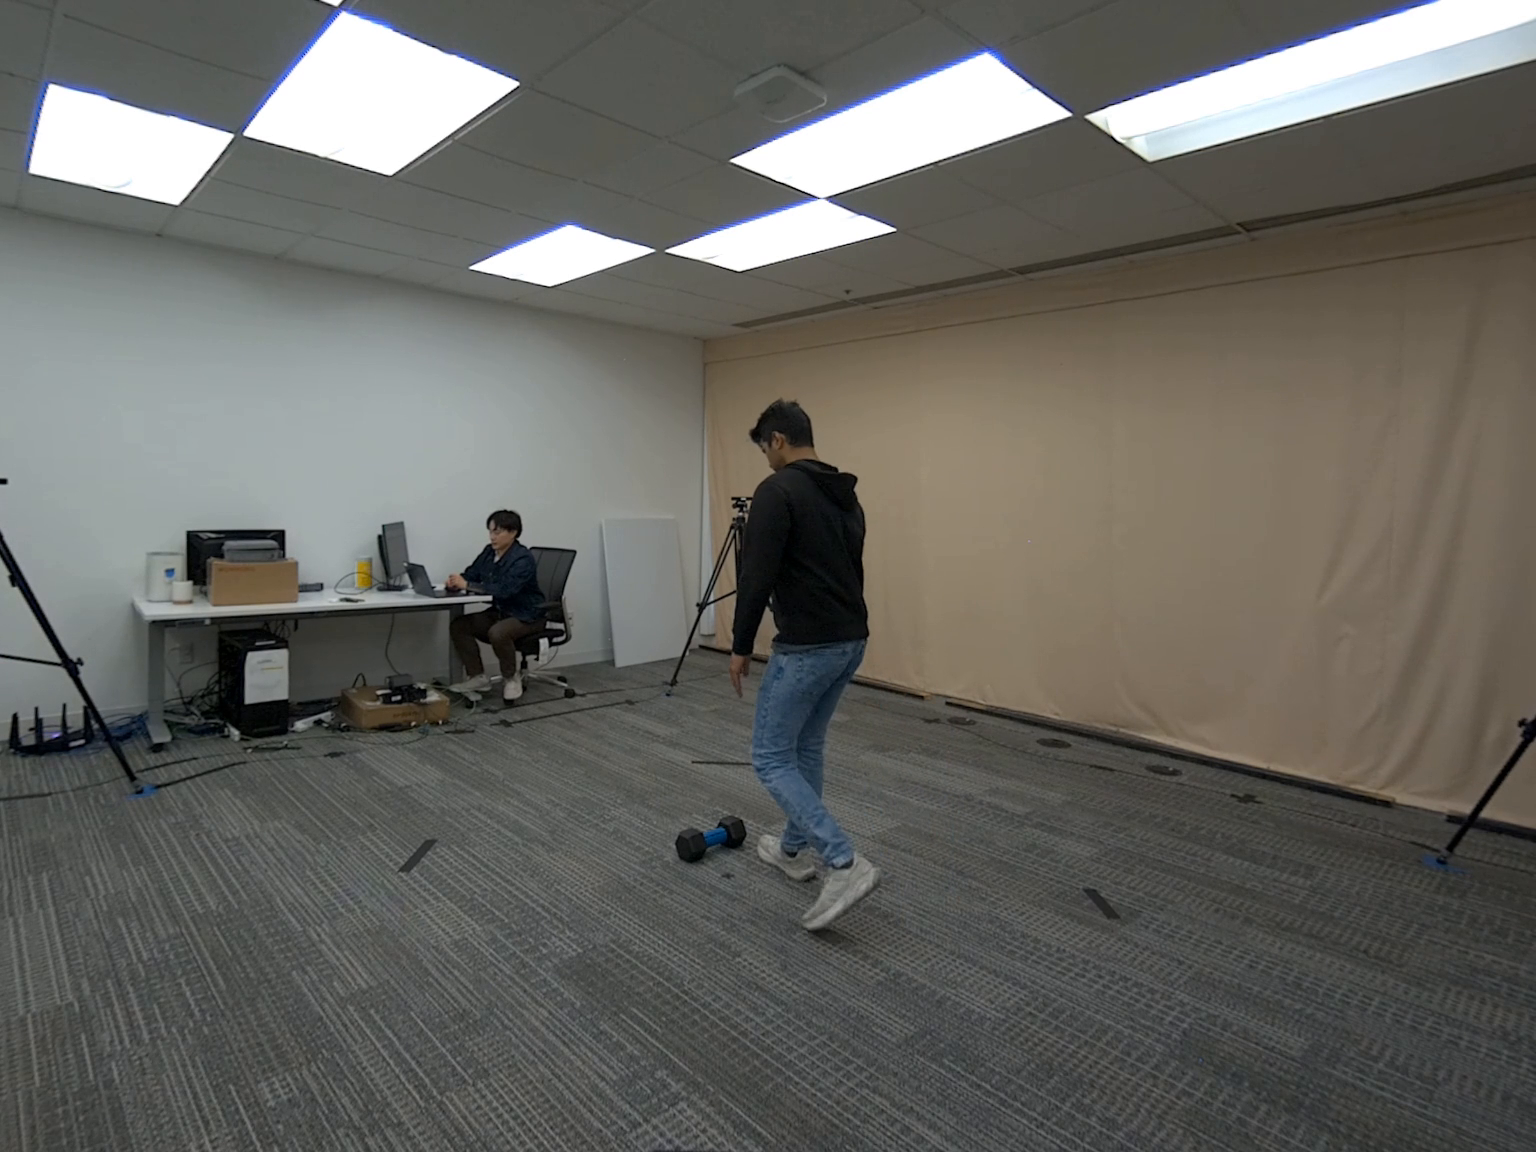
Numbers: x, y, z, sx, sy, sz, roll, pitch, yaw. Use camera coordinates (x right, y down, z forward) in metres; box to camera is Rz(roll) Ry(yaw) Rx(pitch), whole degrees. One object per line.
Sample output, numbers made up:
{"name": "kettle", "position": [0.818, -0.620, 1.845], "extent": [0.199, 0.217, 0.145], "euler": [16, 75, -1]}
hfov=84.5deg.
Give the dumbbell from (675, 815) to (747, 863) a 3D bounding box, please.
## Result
{"name": "dumbbell", "position": [-0.231, 1.032, 3.308], "extent": [0.287, 0.122, 0.112], "euler": [-4, 37, -44]}
